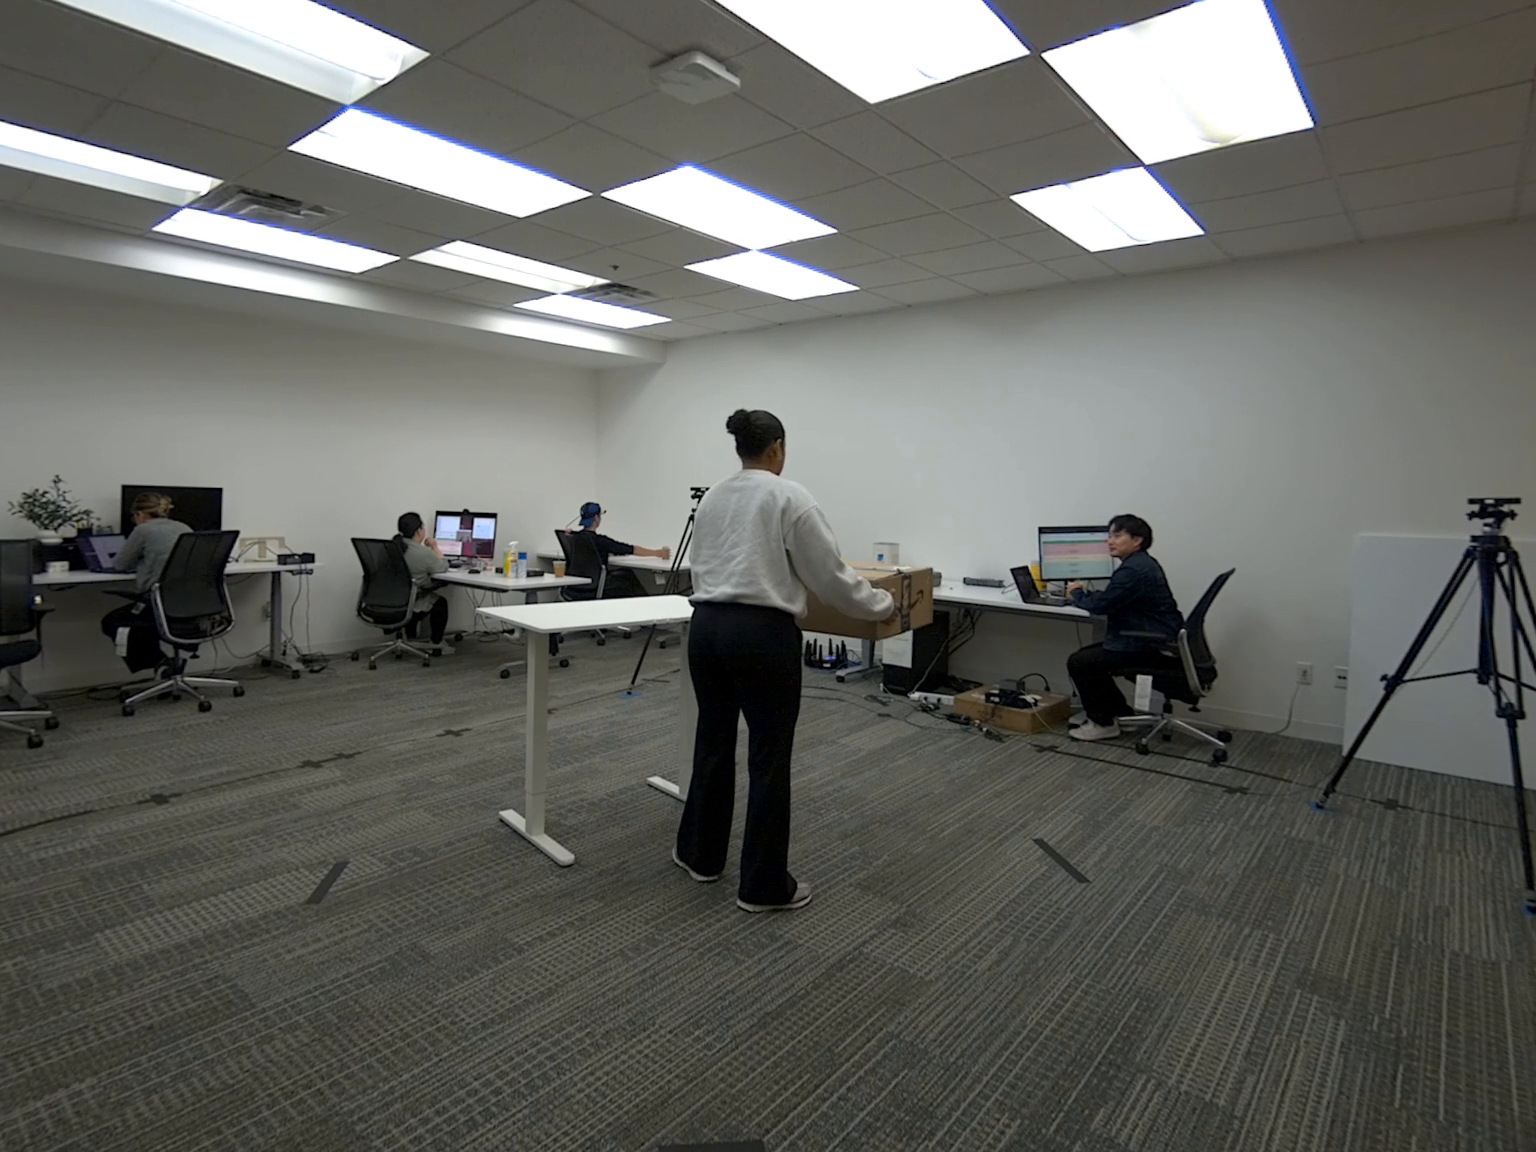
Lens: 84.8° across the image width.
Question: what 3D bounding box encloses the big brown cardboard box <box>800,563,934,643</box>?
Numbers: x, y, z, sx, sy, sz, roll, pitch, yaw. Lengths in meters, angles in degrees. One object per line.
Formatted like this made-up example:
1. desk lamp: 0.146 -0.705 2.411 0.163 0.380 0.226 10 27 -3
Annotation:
1. big brown cardboard box: 0.266 0.075 3.269 0.608 0.232 0.406 4 9 39
